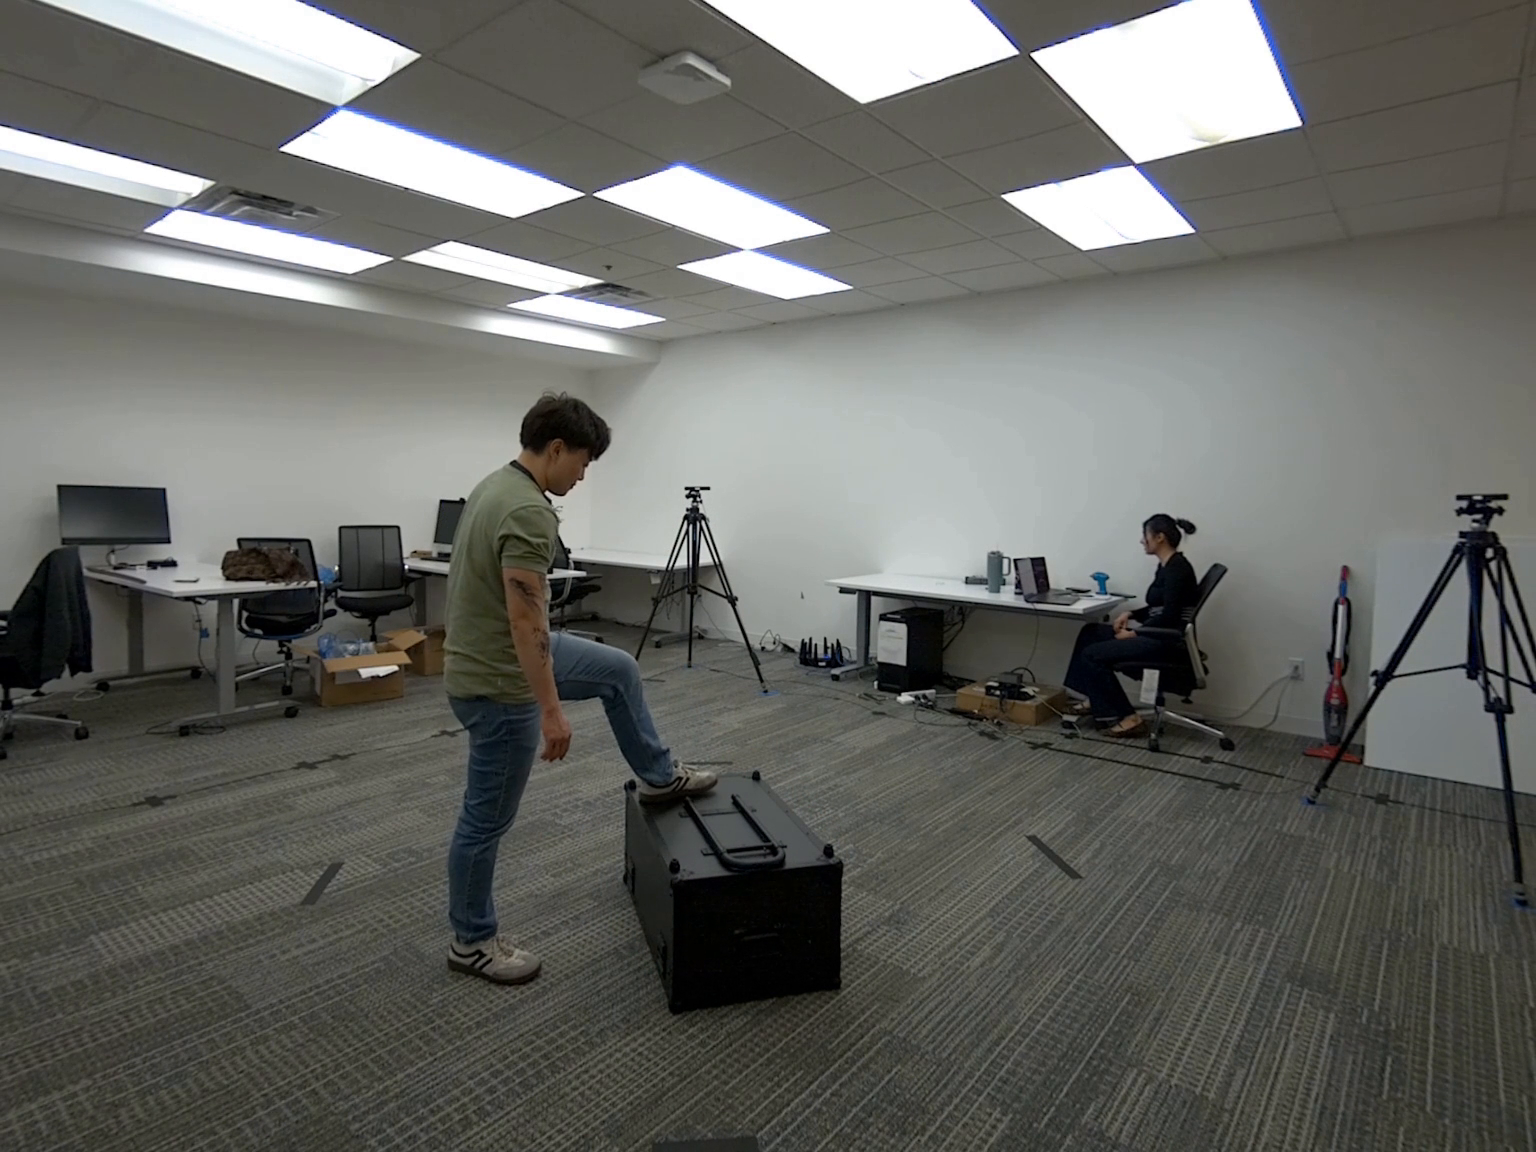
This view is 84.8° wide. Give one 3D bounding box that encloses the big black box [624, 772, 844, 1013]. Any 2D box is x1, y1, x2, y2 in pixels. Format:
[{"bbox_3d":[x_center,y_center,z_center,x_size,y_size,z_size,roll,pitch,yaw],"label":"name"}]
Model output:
[{"bbox_3d":[-0.170,0.915,2.696,0.512,0.395,0.879,0,4,-18],"label":"big black box"}]
